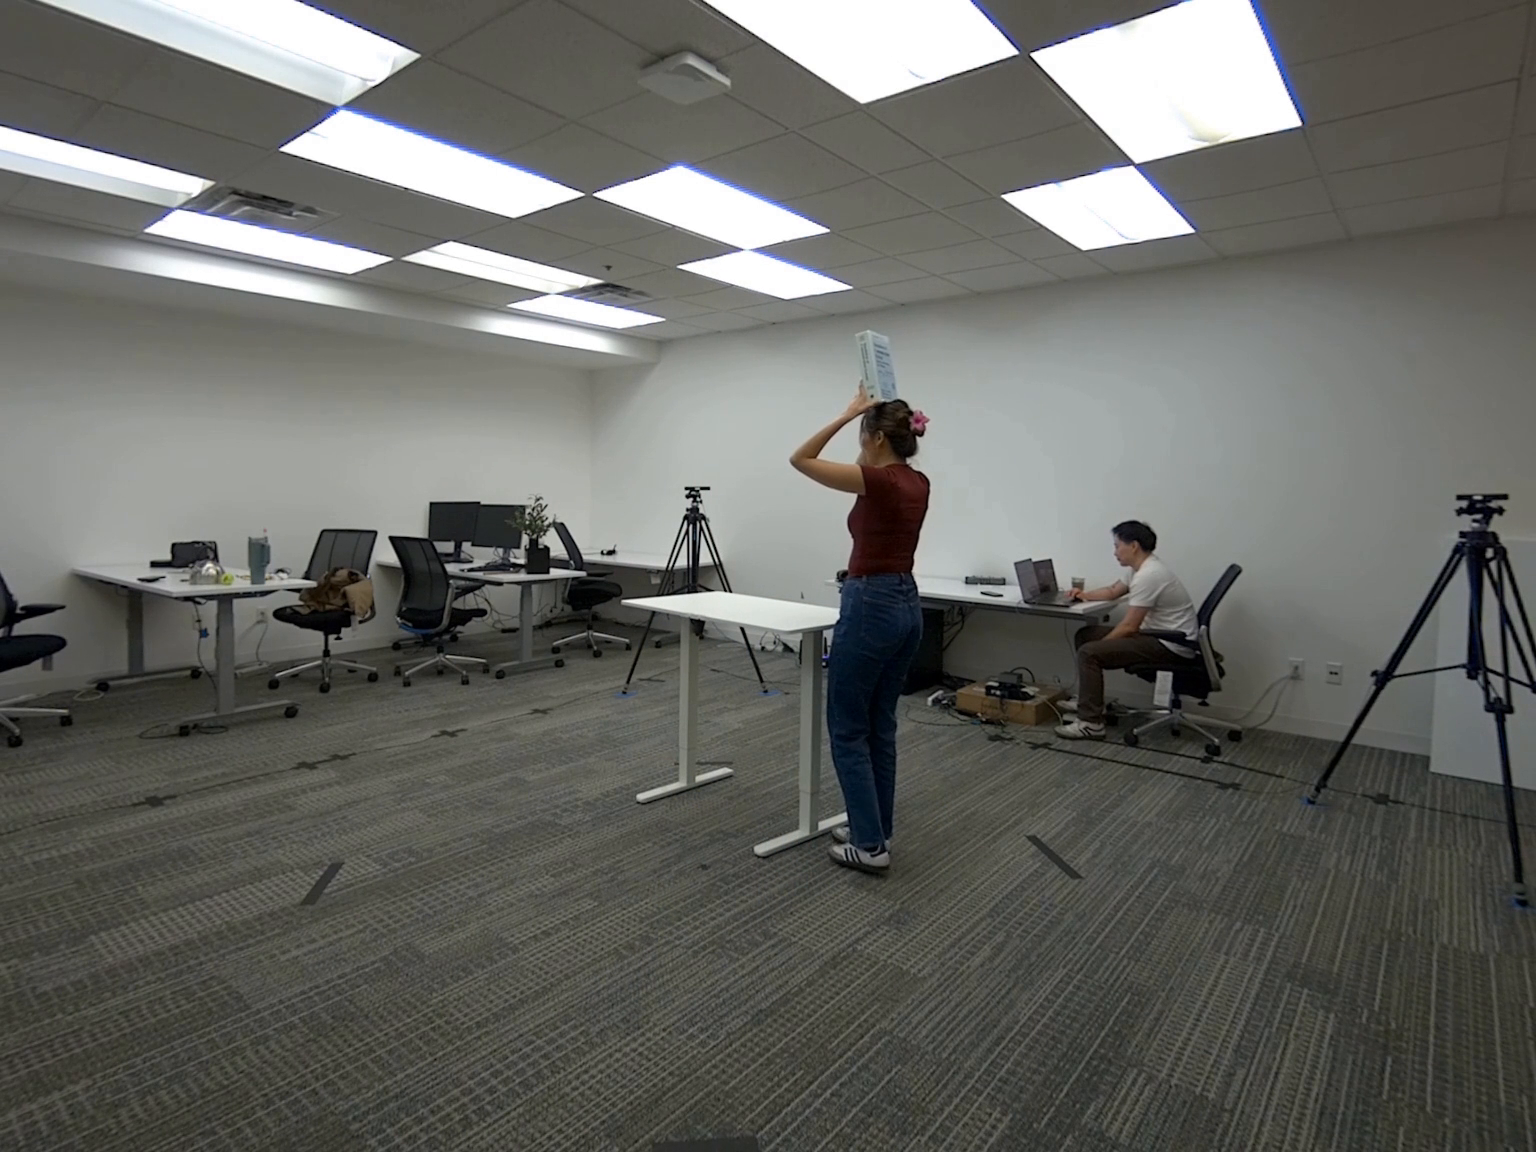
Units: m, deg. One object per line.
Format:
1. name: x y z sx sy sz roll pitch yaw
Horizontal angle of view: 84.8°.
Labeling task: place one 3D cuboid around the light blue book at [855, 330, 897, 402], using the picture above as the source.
1. light blue book: 0.398 -0.767 3.157 0.060 0.262 0.186 -10 -2 30
